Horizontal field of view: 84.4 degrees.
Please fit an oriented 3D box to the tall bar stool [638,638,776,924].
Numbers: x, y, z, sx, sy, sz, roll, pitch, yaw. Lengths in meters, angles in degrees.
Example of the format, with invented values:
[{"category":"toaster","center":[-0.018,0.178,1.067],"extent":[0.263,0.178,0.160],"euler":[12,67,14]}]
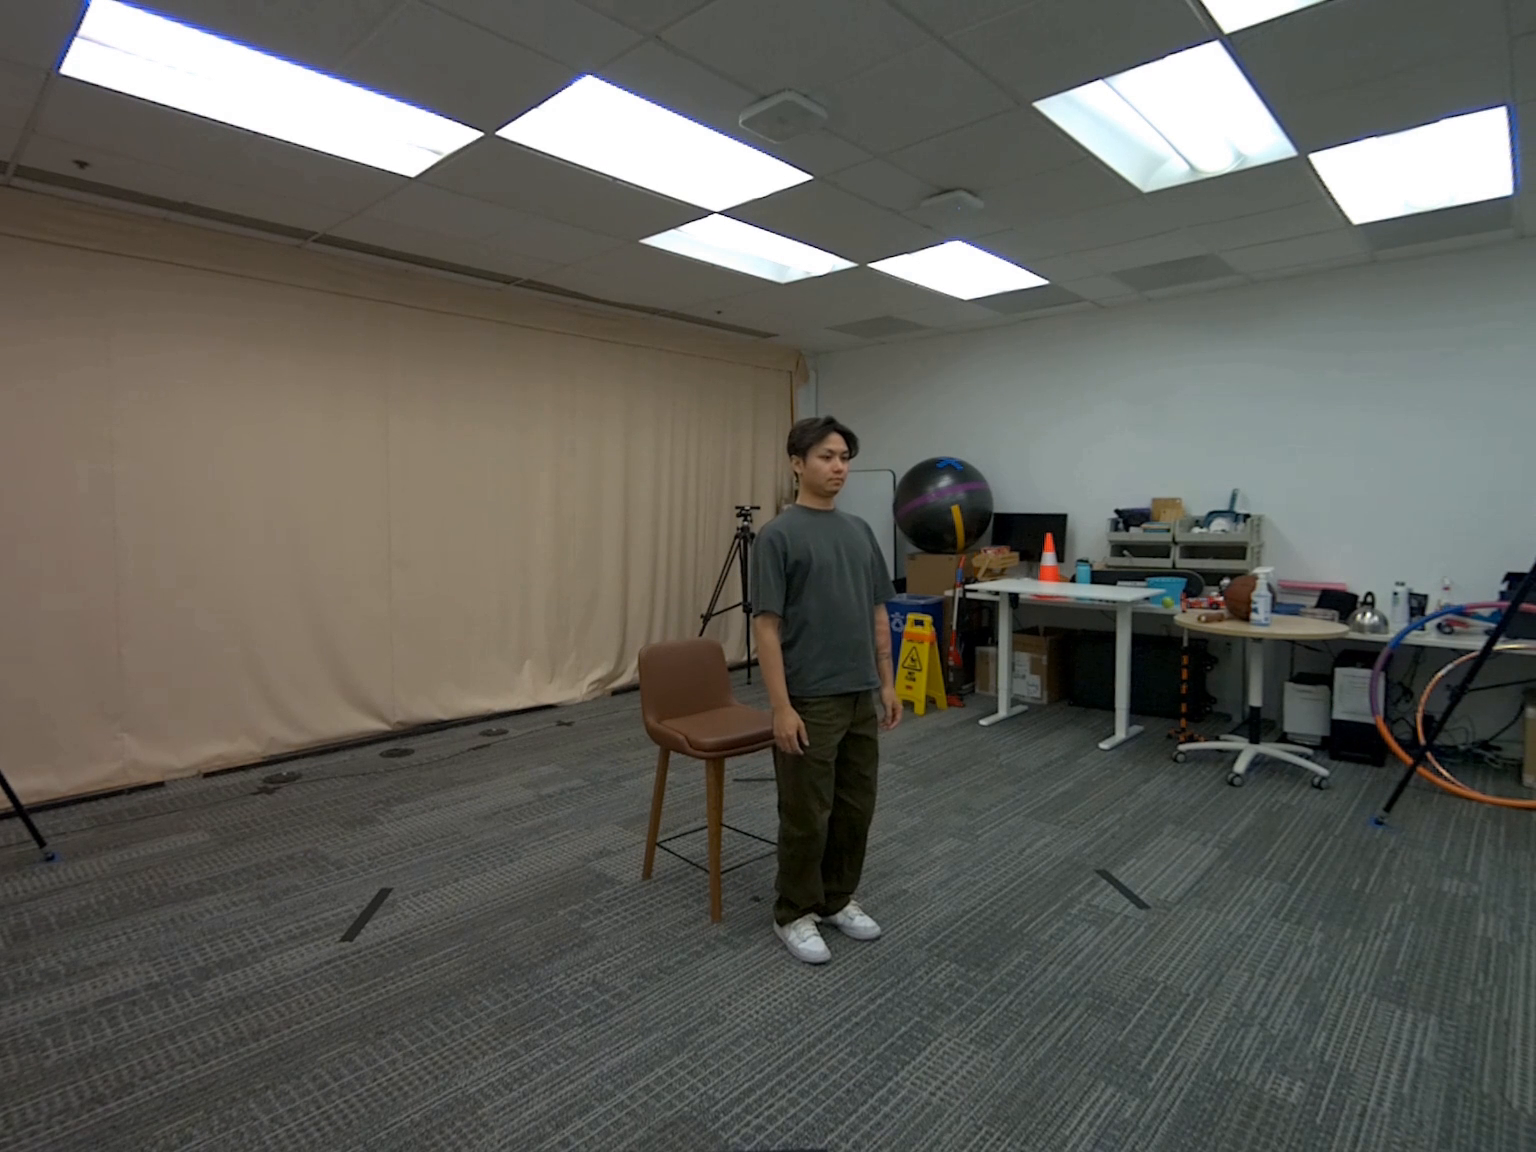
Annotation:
[{"category":"tall bar stool","center":[-0.189,0.699,3.092],"extent":[0.442,0.889,0.482],"euler":[-3,2,-43]}]
